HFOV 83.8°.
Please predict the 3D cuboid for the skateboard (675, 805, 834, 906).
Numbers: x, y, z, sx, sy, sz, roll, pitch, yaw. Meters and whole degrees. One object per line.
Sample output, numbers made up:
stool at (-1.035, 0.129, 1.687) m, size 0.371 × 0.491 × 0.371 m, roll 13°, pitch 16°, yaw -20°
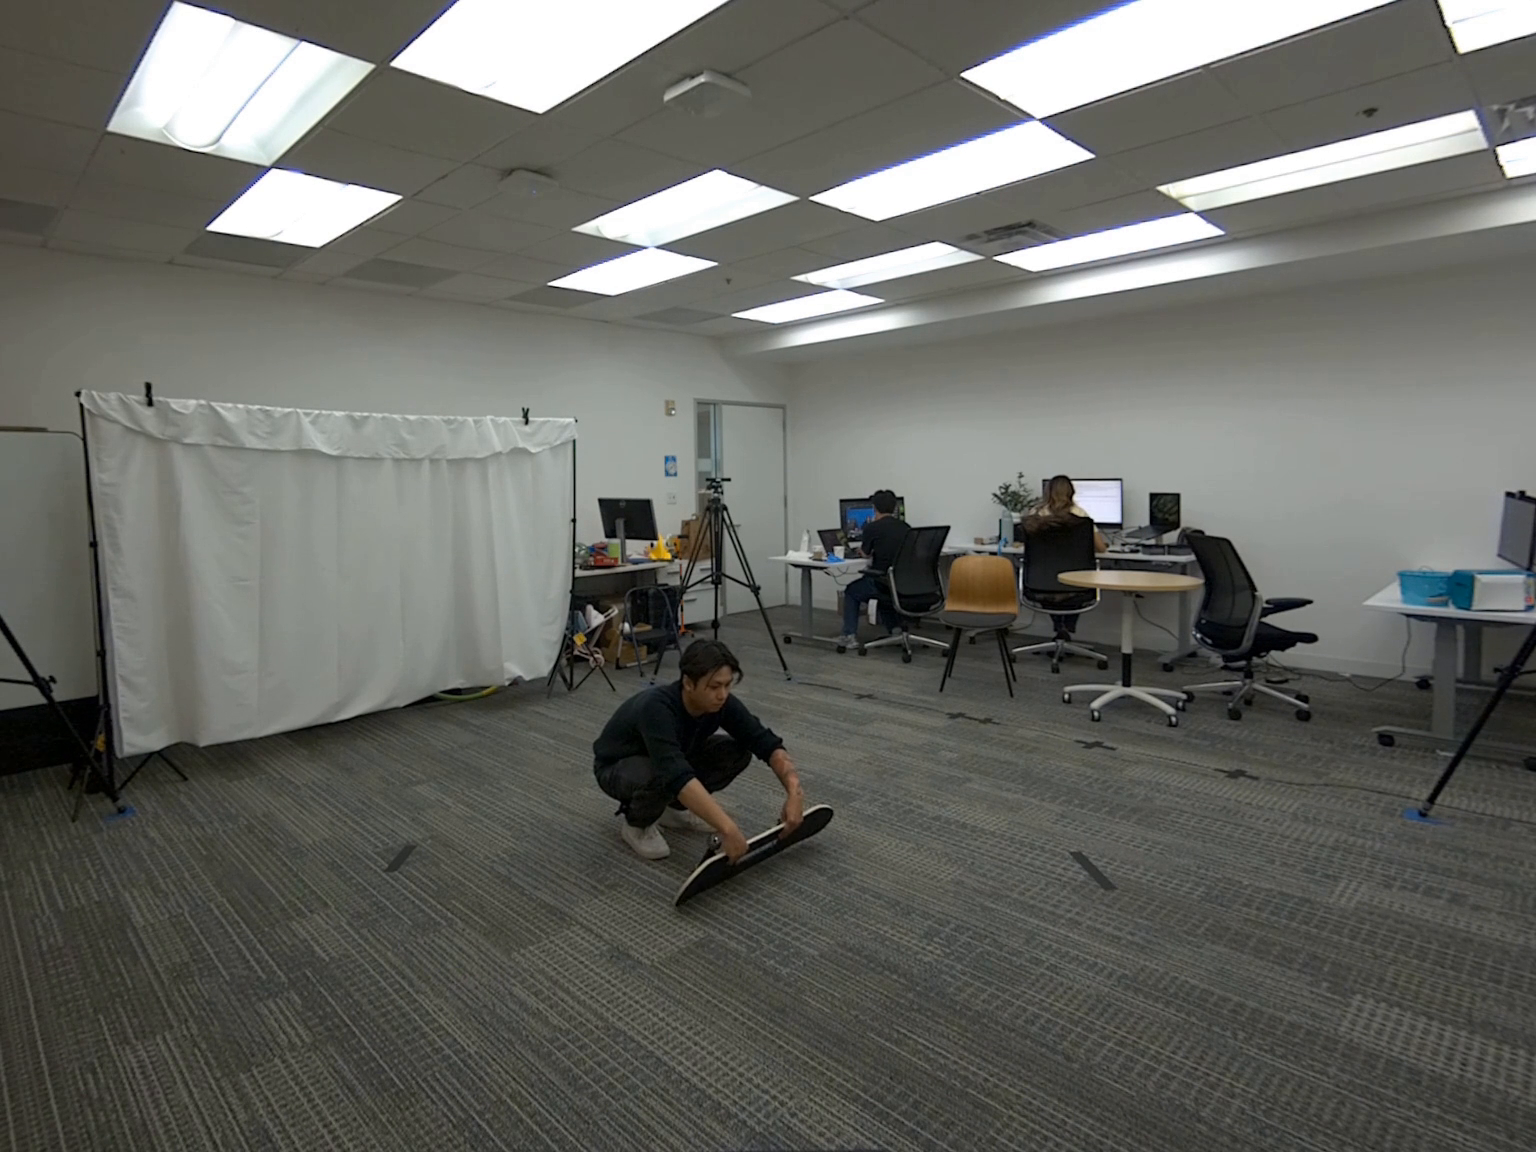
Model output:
skateboard at (-0.046, 0.945, 3.006) m, size 0.765 × 0.191 × 0.114 m, roll -8°, pitch 41°, yaw -44°
